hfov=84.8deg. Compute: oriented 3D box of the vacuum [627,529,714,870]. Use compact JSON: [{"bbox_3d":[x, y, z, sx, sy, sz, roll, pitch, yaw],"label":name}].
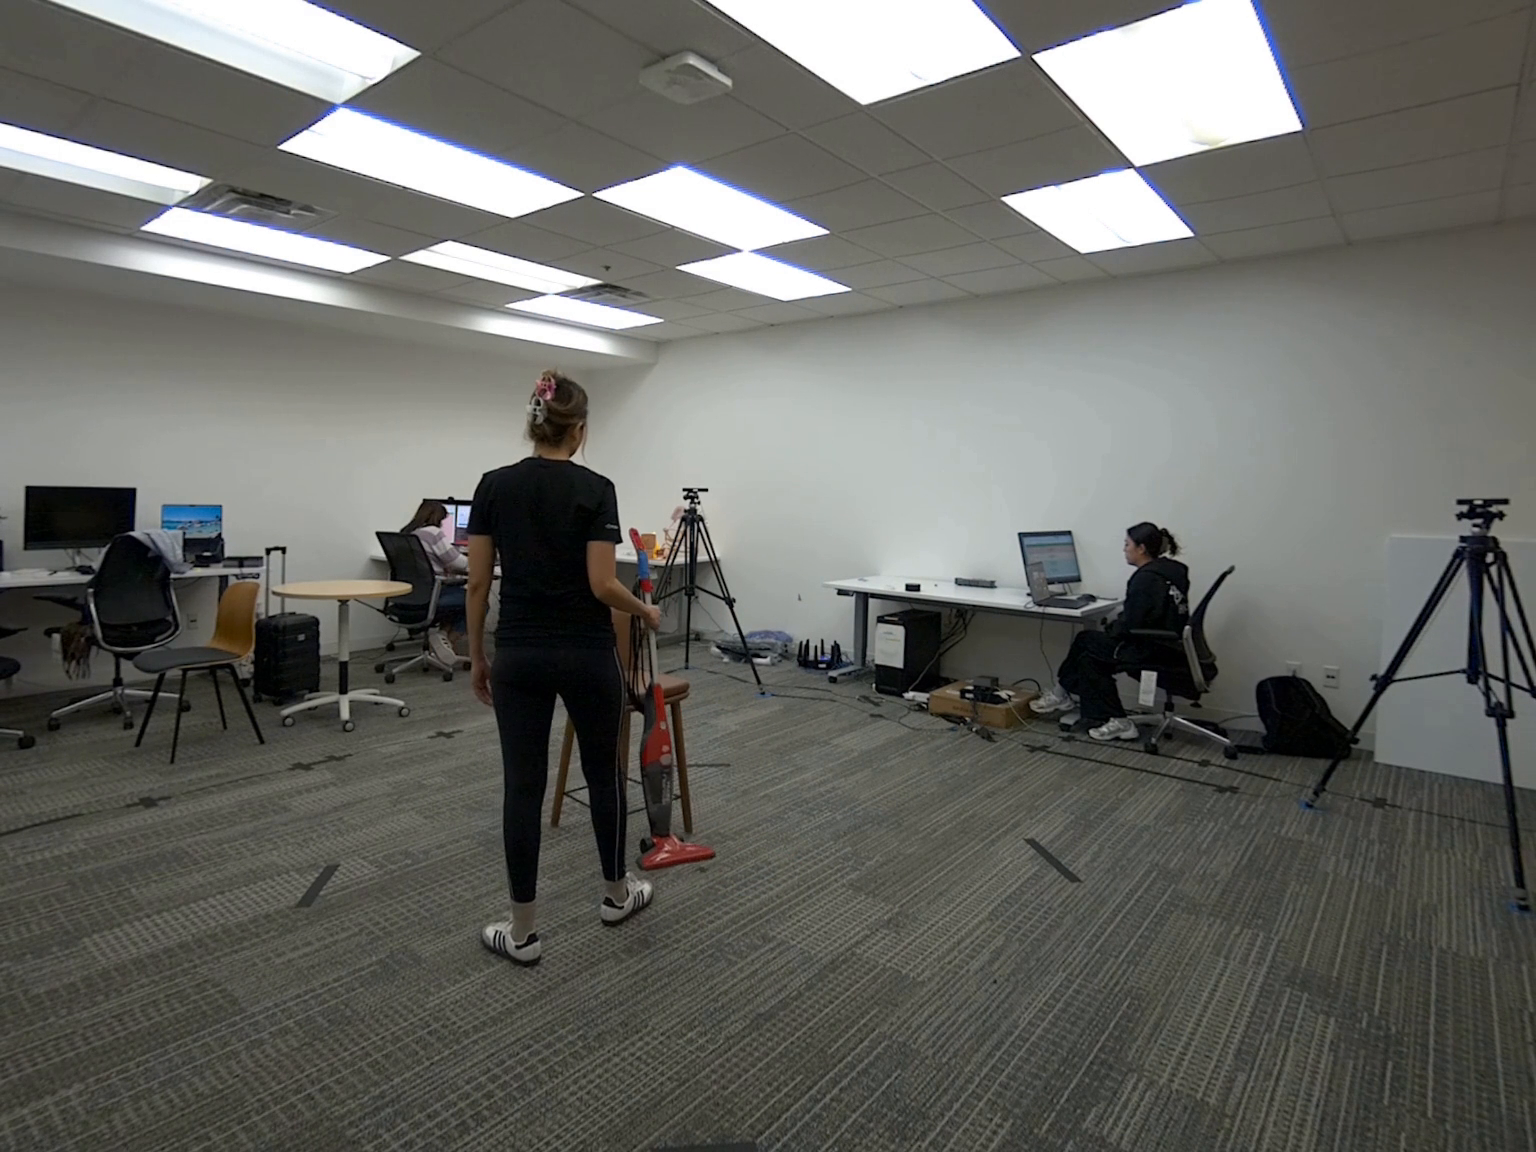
[{"bbox_3d":[-0.385,0.354,2.747,0.244,1.067,0.146,3,-20,-42],"label":"vacuum"}]
